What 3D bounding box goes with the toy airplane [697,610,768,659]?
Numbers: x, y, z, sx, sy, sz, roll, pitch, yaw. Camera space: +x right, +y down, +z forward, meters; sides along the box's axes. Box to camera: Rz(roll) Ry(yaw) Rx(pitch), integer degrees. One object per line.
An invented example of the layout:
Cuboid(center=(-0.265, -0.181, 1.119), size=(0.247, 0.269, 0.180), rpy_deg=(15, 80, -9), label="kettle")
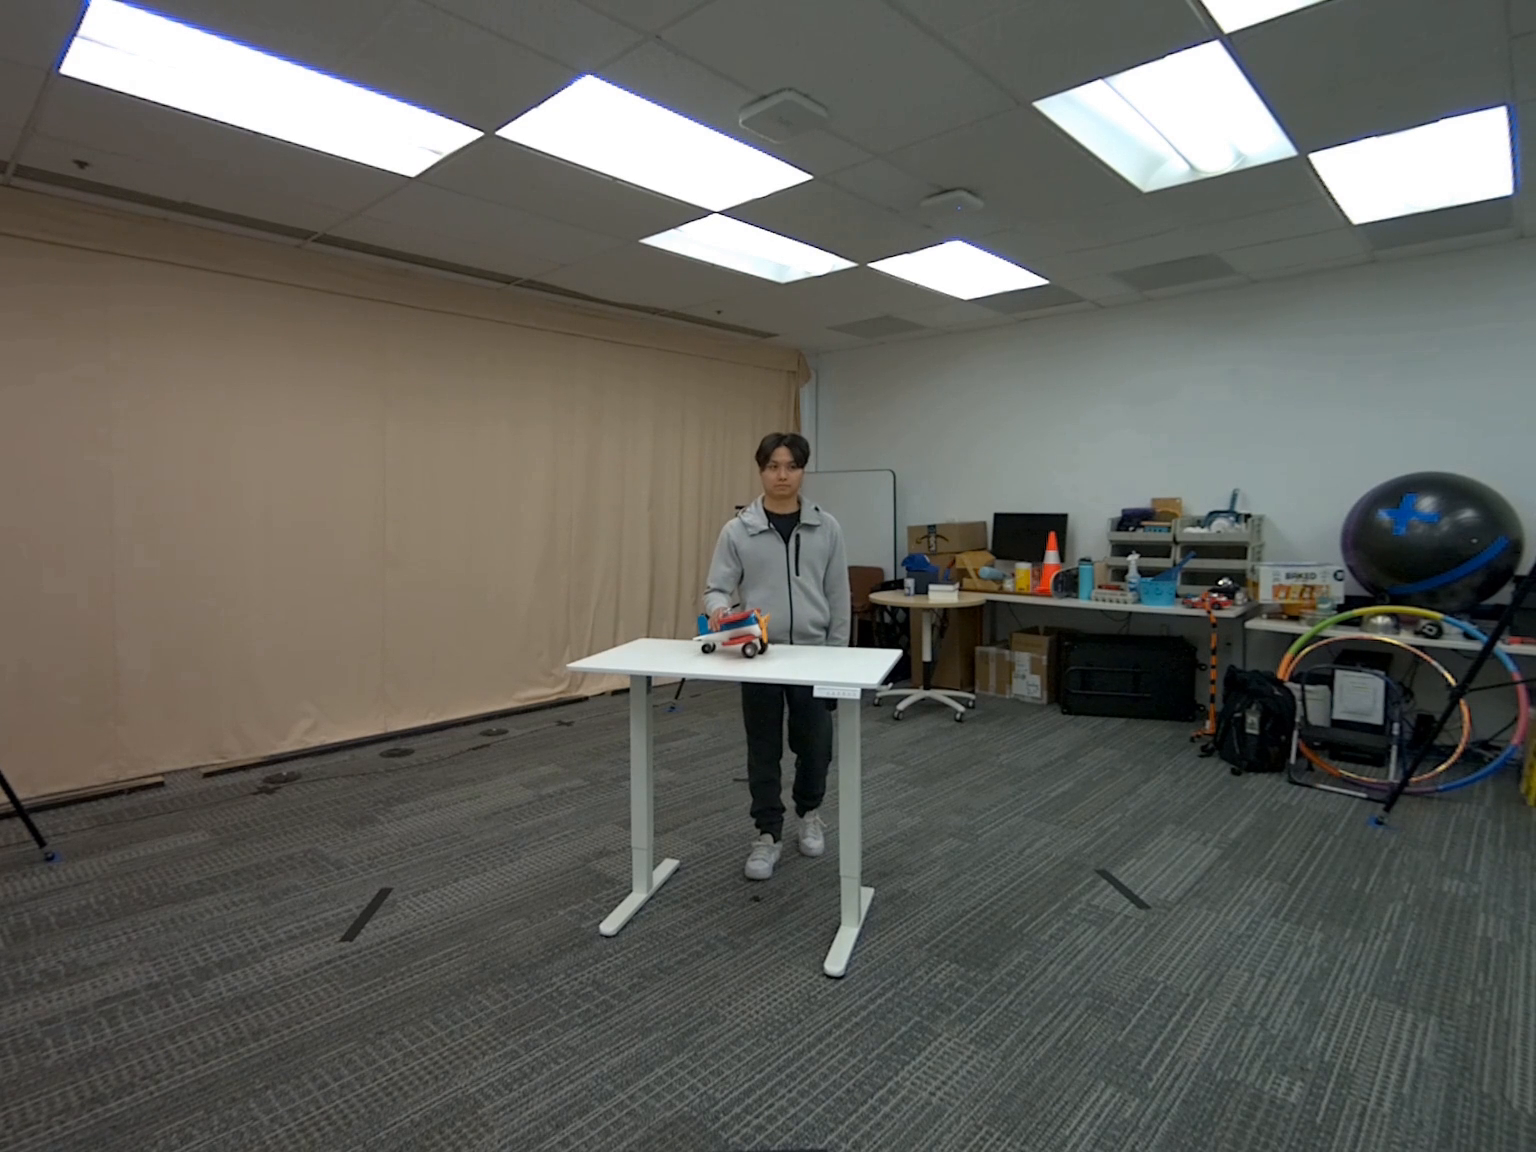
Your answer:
Cuboid(center=(-0.121, 0.195, 2.876), size=(0.258, 0.156, 0.252), rpy_deg=(0, 3, -4), label="toy airplane")
